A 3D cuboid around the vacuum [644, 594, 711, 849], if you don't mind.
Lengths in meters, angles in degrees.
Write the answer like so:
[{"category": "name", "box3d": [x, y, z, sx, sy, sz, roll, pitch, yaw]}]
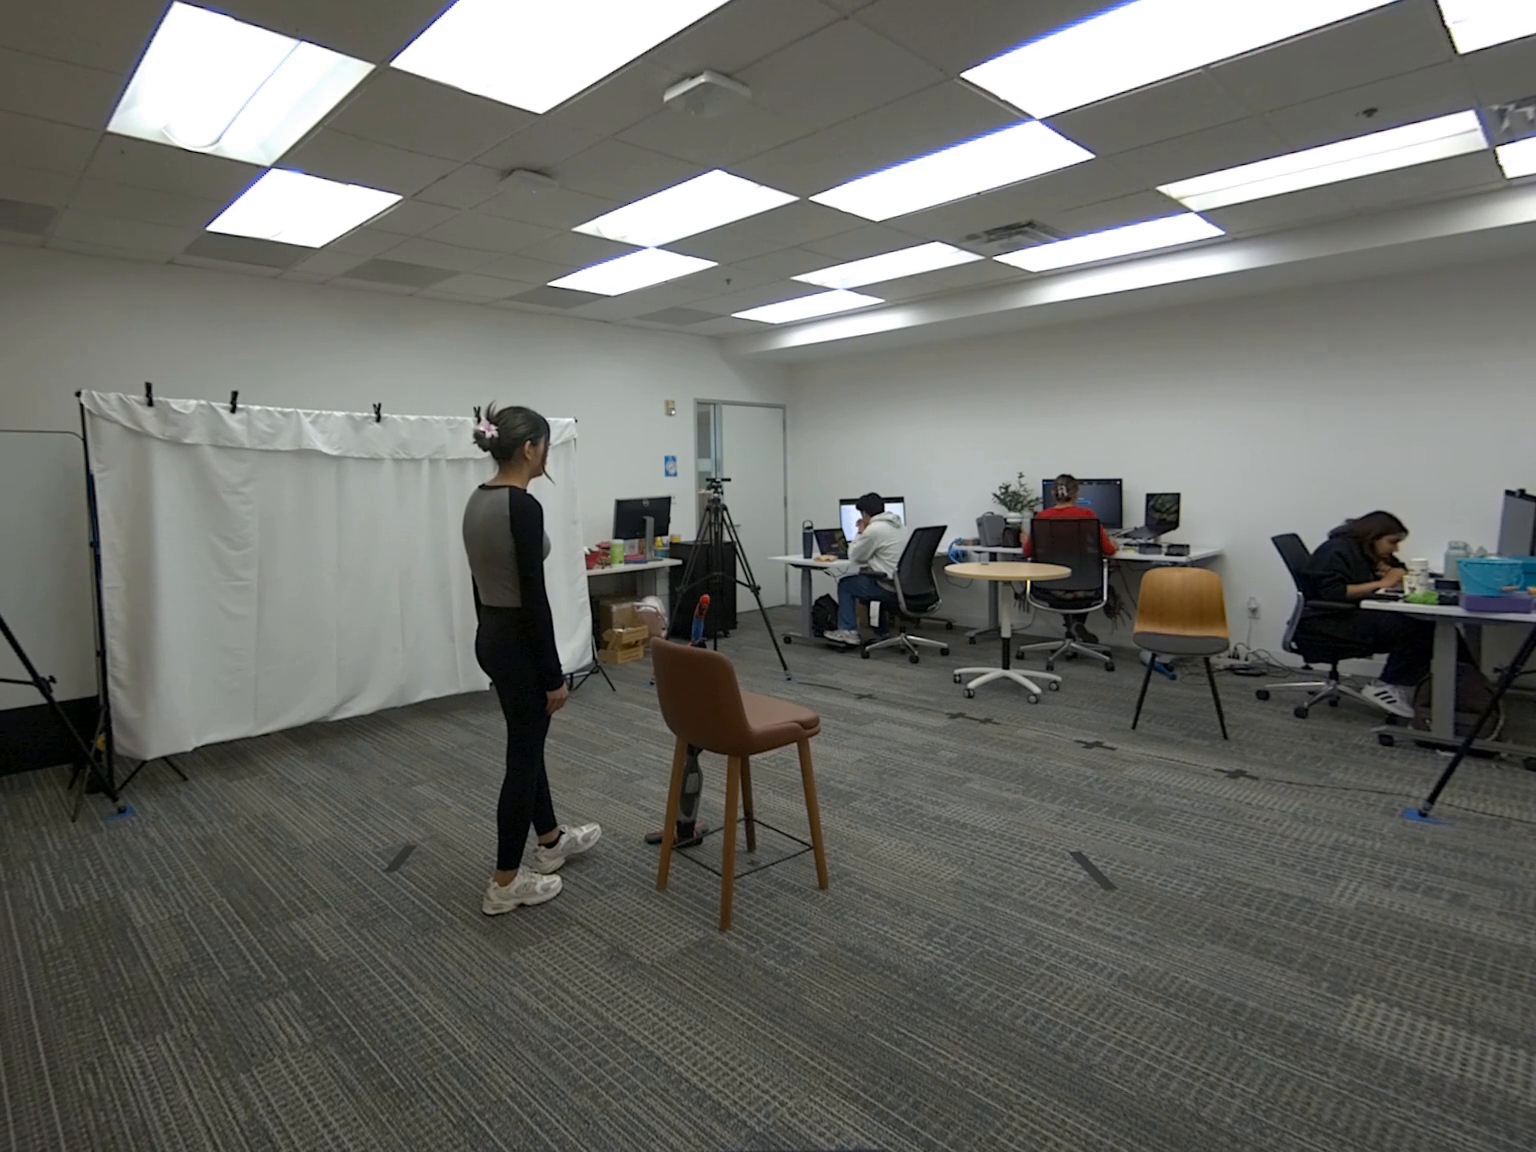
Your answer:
[{"category": "vacuum", "box3d": [-0.274, 0.543, 3.110, 0.247, 1.032, 0.149, -3, 24, -25]}]
